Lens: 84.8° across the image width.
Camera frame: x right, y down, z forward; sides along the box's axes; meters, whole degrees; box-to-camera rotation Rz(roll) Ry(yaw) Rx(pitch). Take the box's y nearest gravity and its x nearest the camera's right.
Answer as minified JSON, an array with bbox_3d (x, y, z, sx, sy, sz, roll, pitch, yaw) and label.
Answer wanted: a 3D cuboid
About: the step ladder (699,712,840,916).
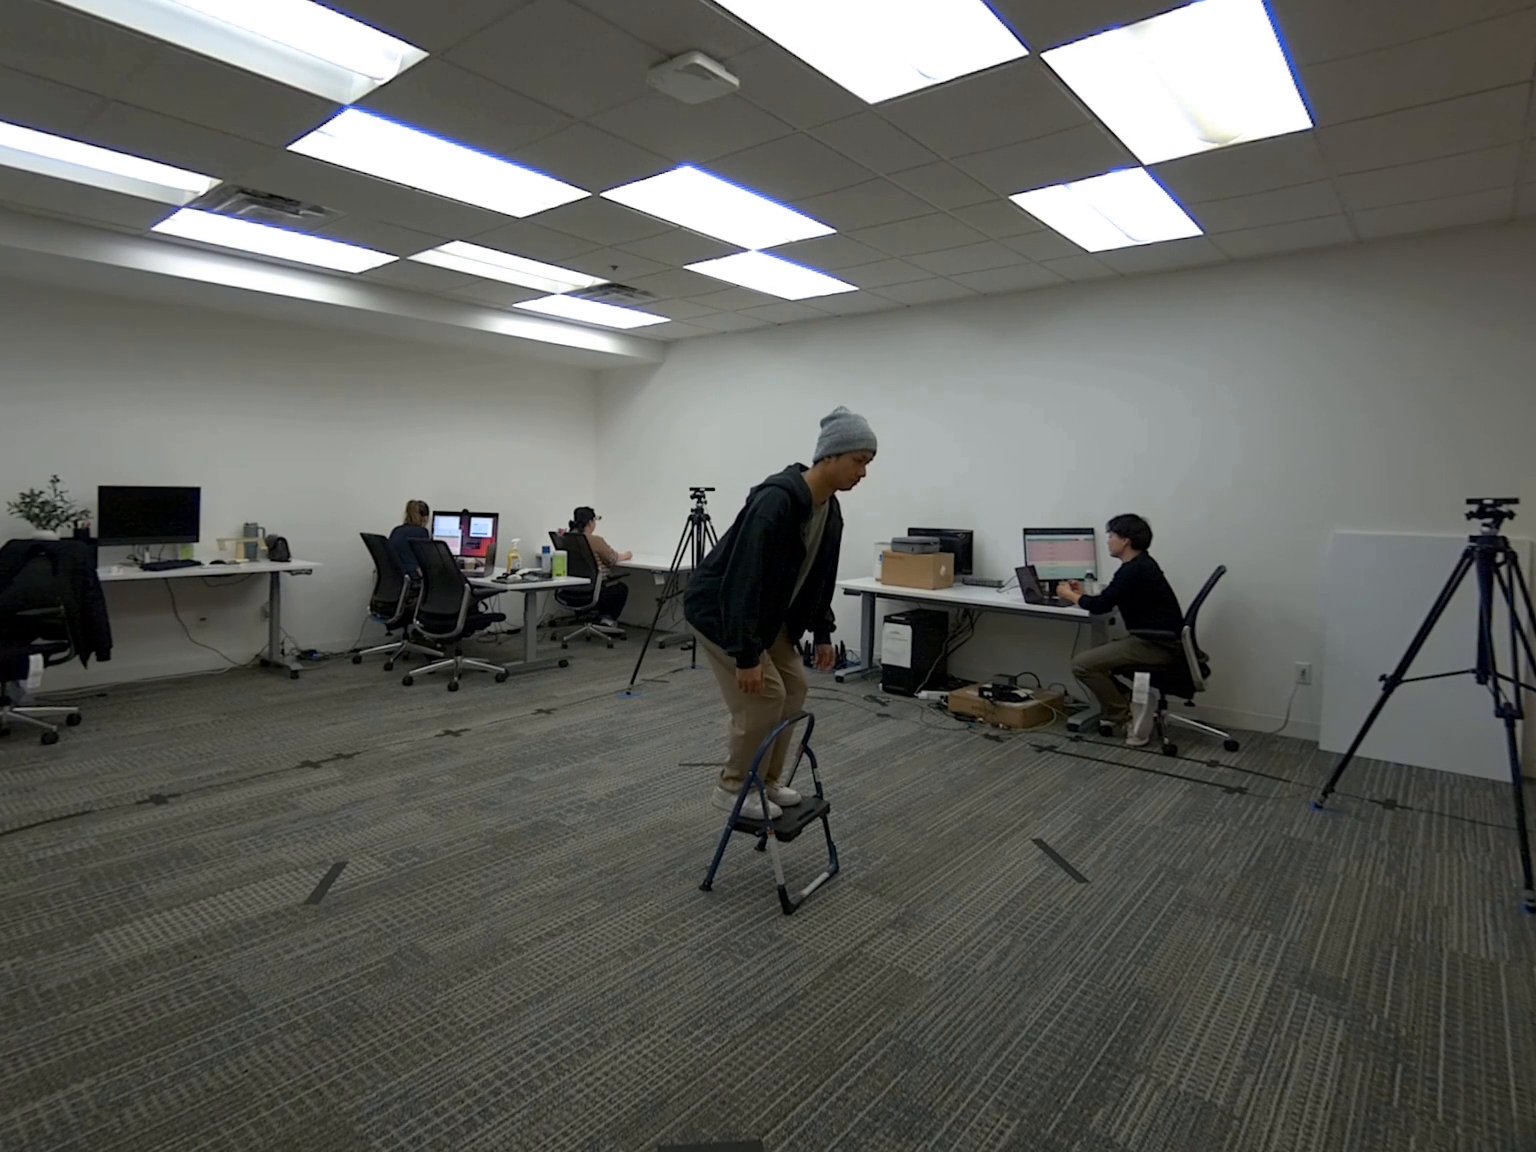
[{"bbox_3d":[0.017,0.781,3.014,0.359,0.604,0.420,4,4,29],"label":"step ladder"}]
